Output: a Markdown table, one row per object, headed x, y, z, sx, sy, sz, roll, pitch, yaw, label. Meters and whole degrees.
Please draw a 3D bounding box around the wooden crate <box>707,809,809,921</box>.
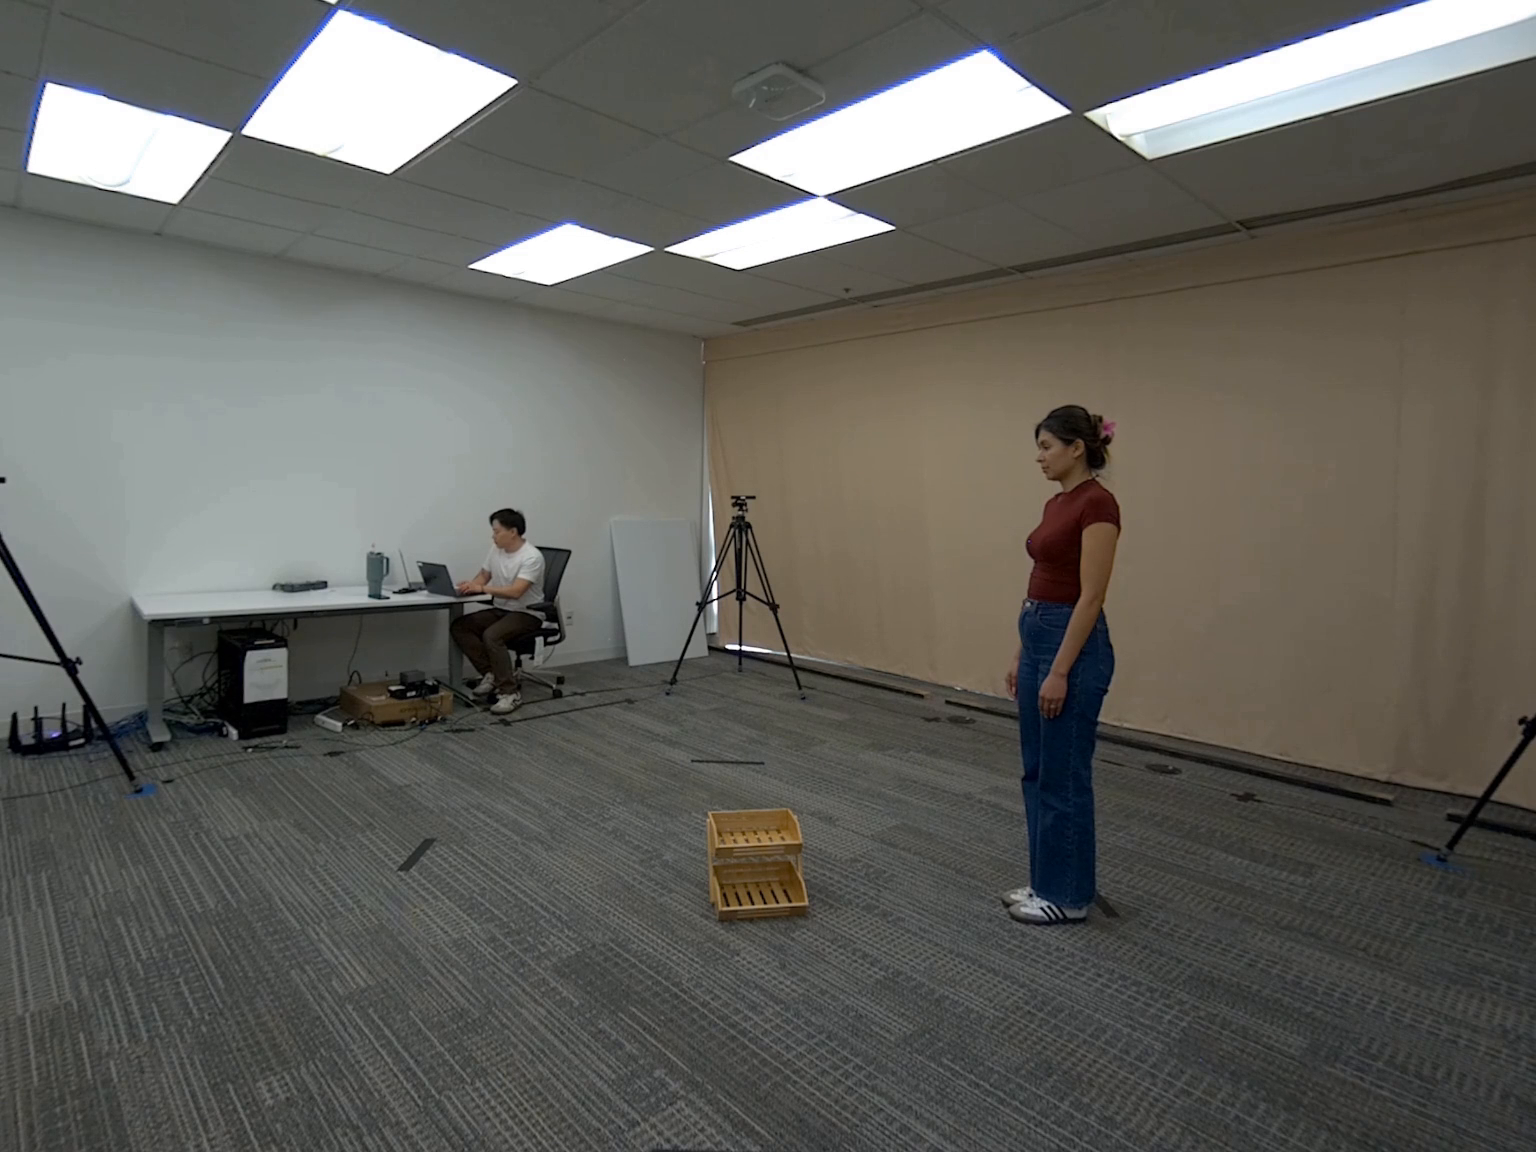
| x | y | z | sx | sy | sz | roll | pitch | yaw | label |
| --- | --- | --- | --- | --- | --- | --- | --- | --- | --- |
| -0.044 | 0.983 | 2.903 | 0.322 | 0.272 | 0.305 | 0 | 4 | -11 | wooden crate |
